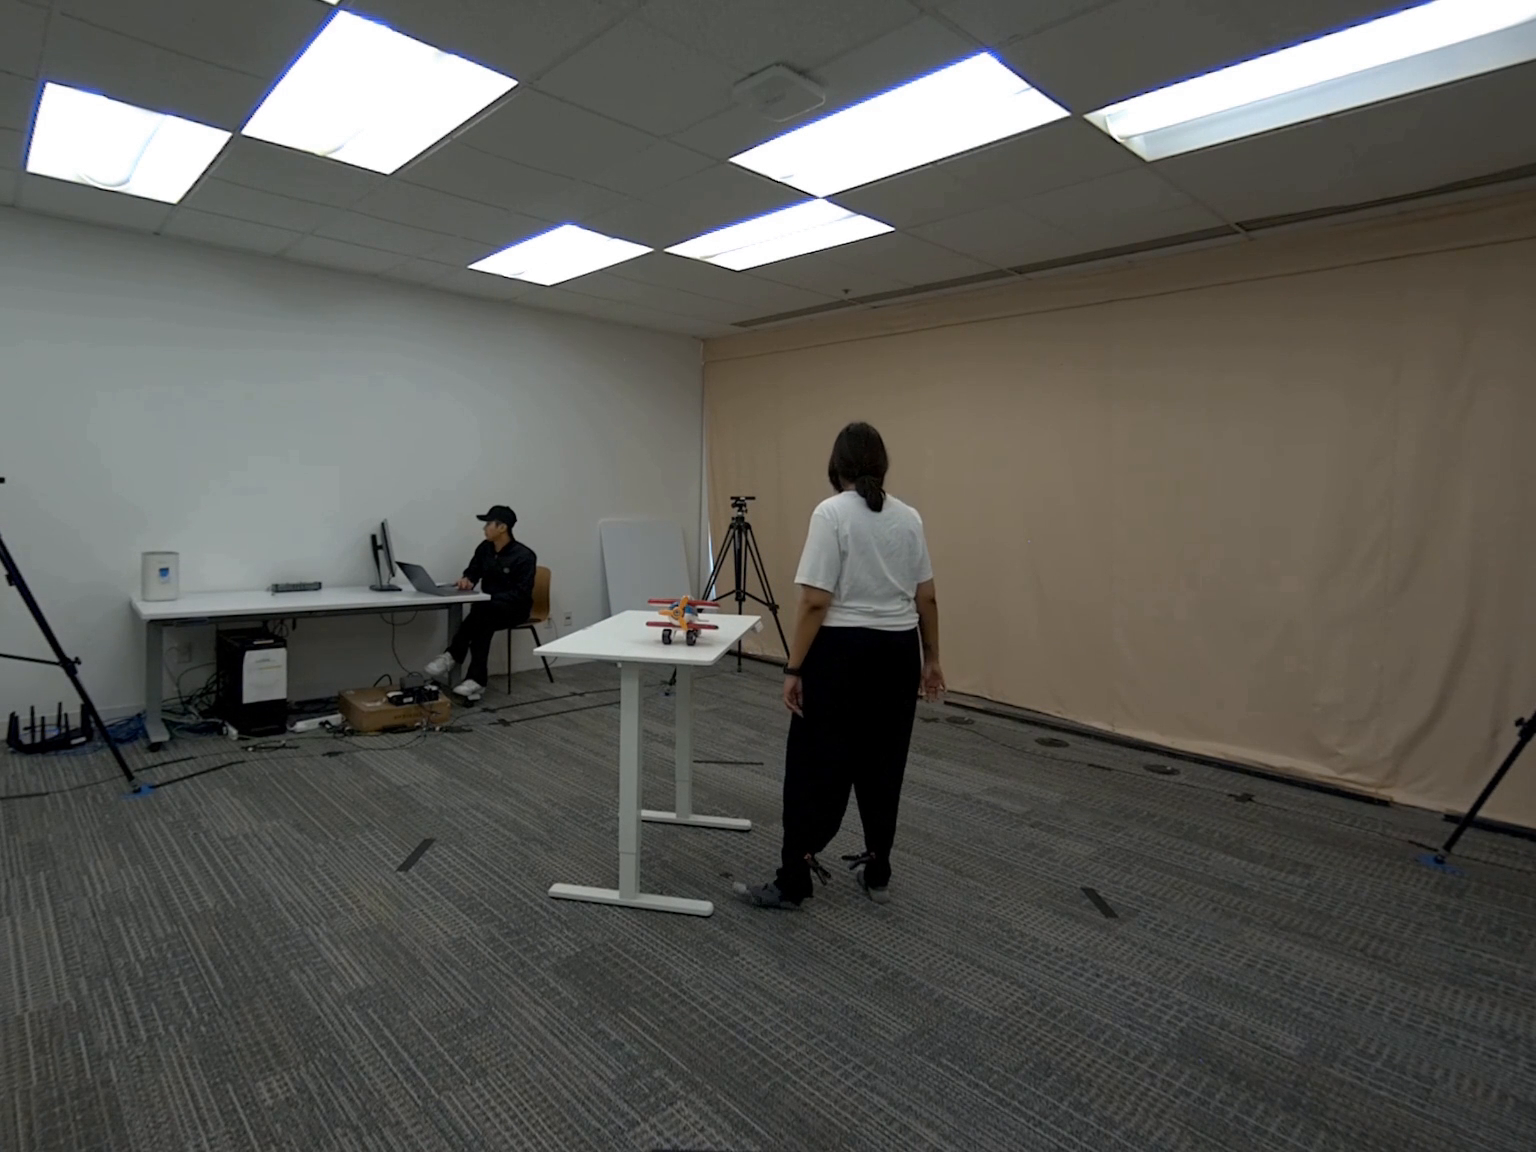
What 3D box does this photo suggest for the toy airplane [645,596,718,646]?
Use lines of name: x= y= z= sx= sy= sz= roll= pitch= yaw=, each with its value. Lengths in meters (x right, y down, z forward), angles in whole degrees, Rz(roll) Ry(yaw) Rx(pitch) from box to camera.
toy airplane: x=-0.318 y=0.153 z=2.976 sx=0.247 sy=0.156 sz=0.263 roll=1 pitch=4 yaw=-18
